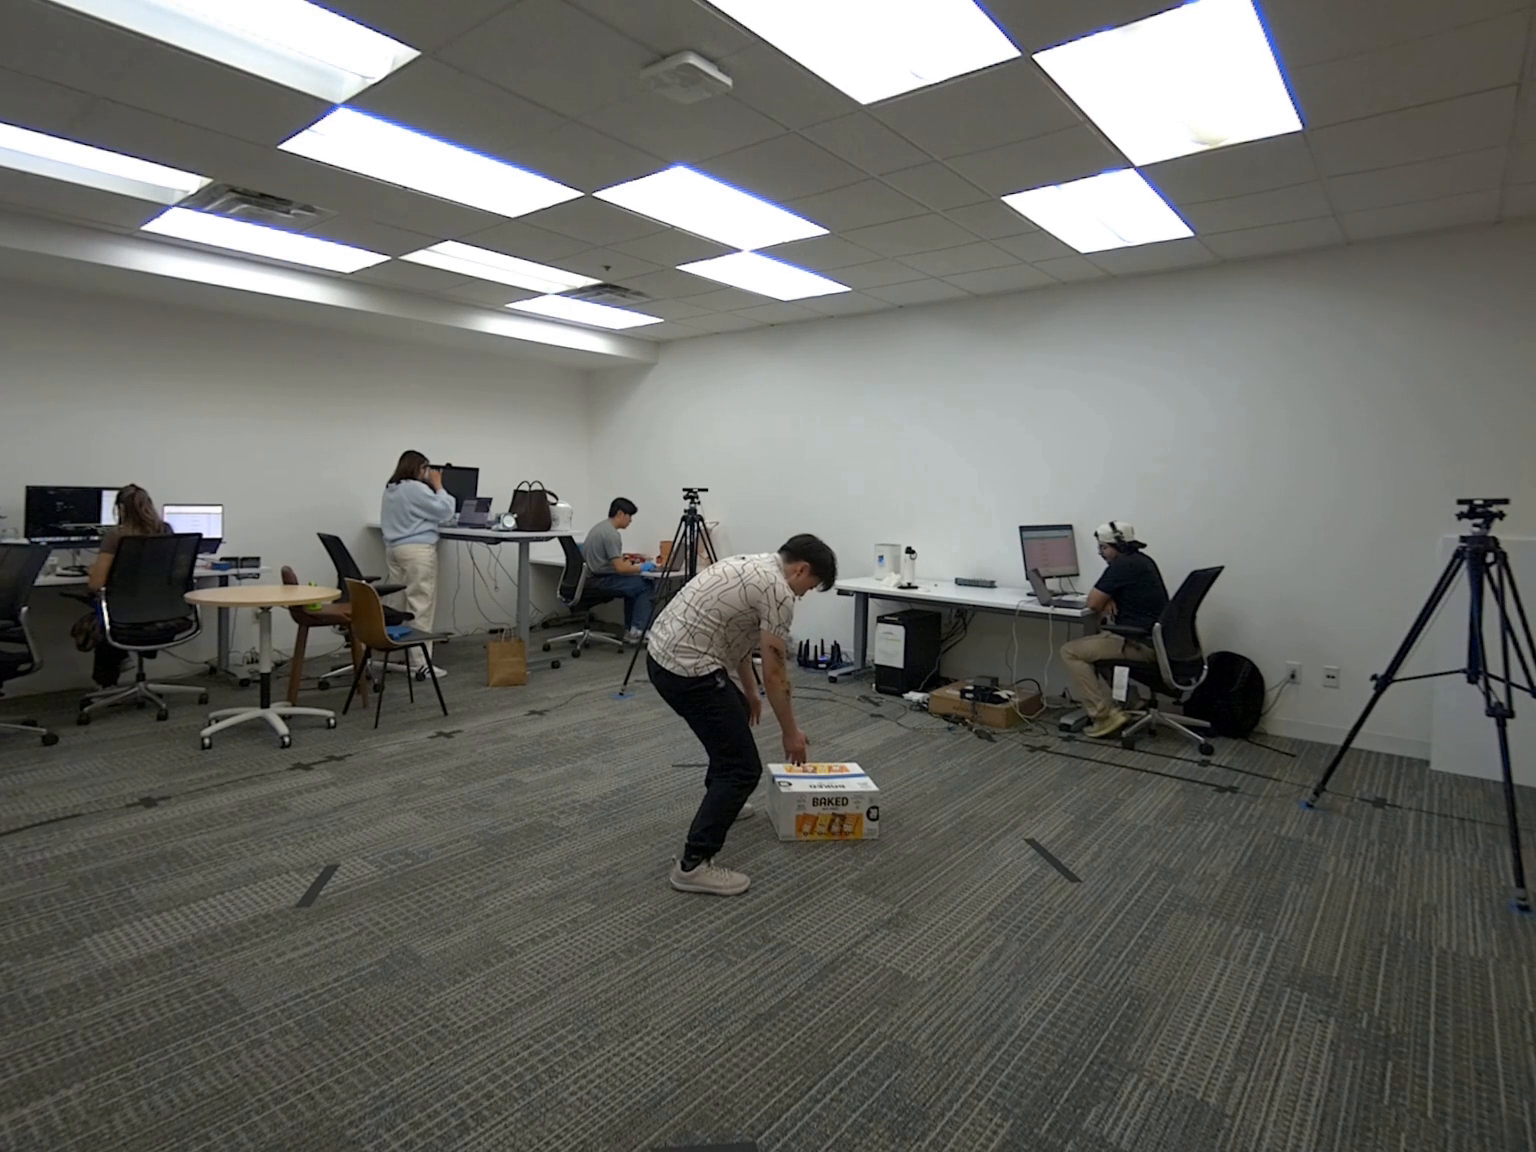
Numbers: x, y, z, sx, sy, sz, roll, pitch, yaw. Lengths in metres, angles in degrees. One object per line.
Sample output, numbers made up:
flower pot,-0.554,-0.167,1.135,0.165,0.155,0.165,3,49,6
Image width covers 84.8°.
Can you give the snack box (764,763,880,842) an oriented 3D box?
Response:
snack box,0.214,0.934,3.550,0.402,0.205,0.344,1,5,-8
